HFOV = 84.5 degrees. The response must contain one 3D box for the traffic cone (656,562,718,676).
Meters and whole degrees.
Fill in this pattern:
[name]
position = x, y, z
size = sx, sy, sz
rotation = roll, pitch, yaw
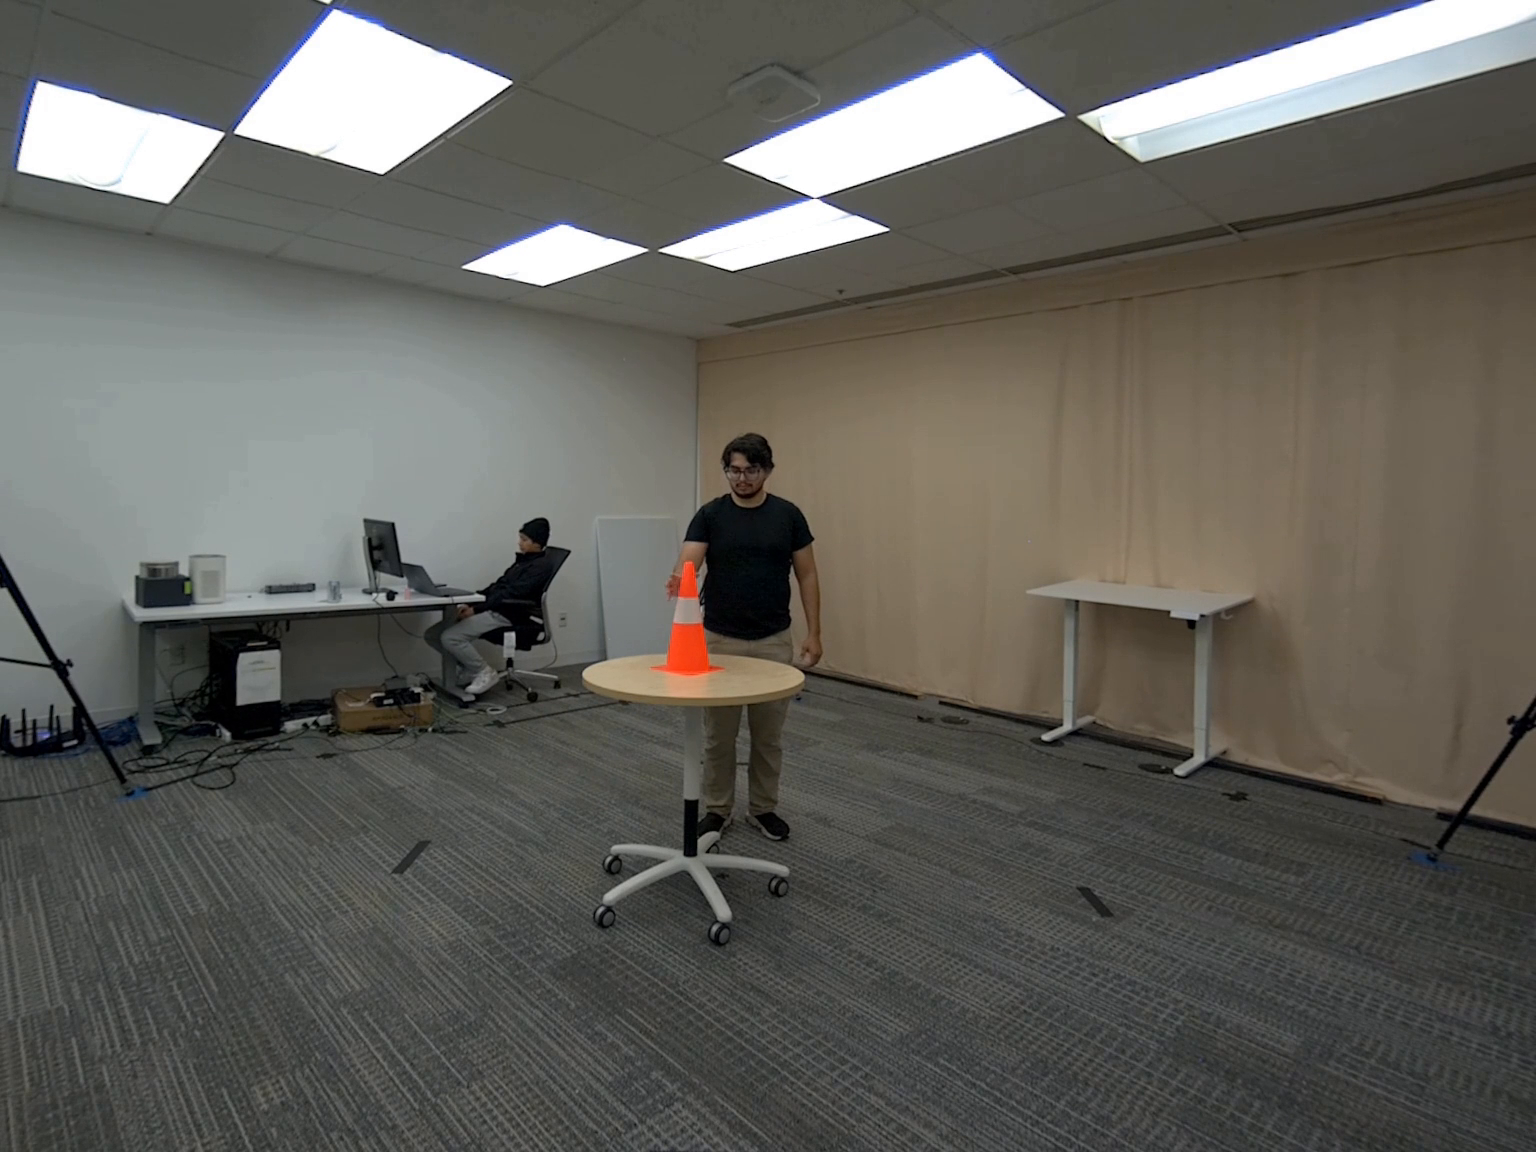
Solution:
[traffic cone]
position = -0.290, 0.143, 2.986
size = 0.208, 0.383, 0.200
rotation = 3, 3, 40
